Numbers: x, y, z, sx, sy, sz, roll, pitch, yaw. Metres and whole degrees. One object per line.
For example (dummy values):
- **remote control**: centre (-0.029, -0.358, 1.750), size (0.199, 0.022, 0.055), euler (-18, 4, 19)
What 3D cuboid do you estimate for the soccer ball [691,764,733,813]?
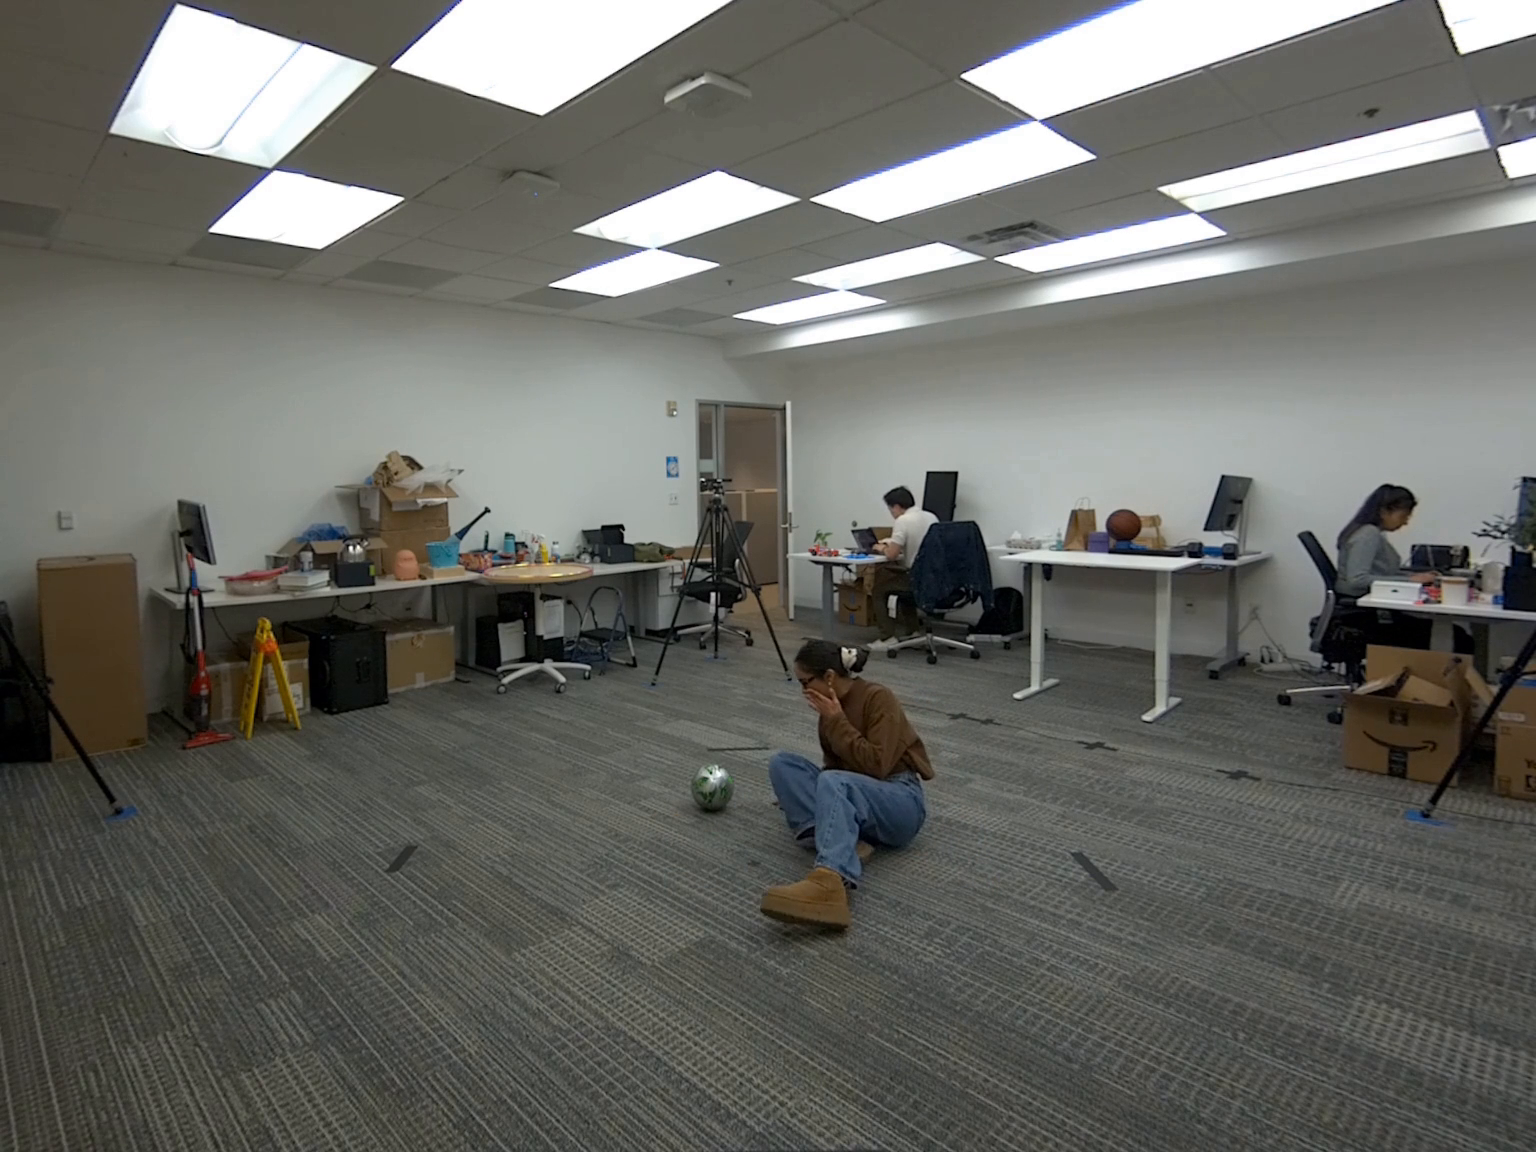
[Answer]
- **soccer ball**: centre (-0.231, 0.898, 3.629), size (0.187, 0.187, 0.188), euler (-1, 5, -2)
